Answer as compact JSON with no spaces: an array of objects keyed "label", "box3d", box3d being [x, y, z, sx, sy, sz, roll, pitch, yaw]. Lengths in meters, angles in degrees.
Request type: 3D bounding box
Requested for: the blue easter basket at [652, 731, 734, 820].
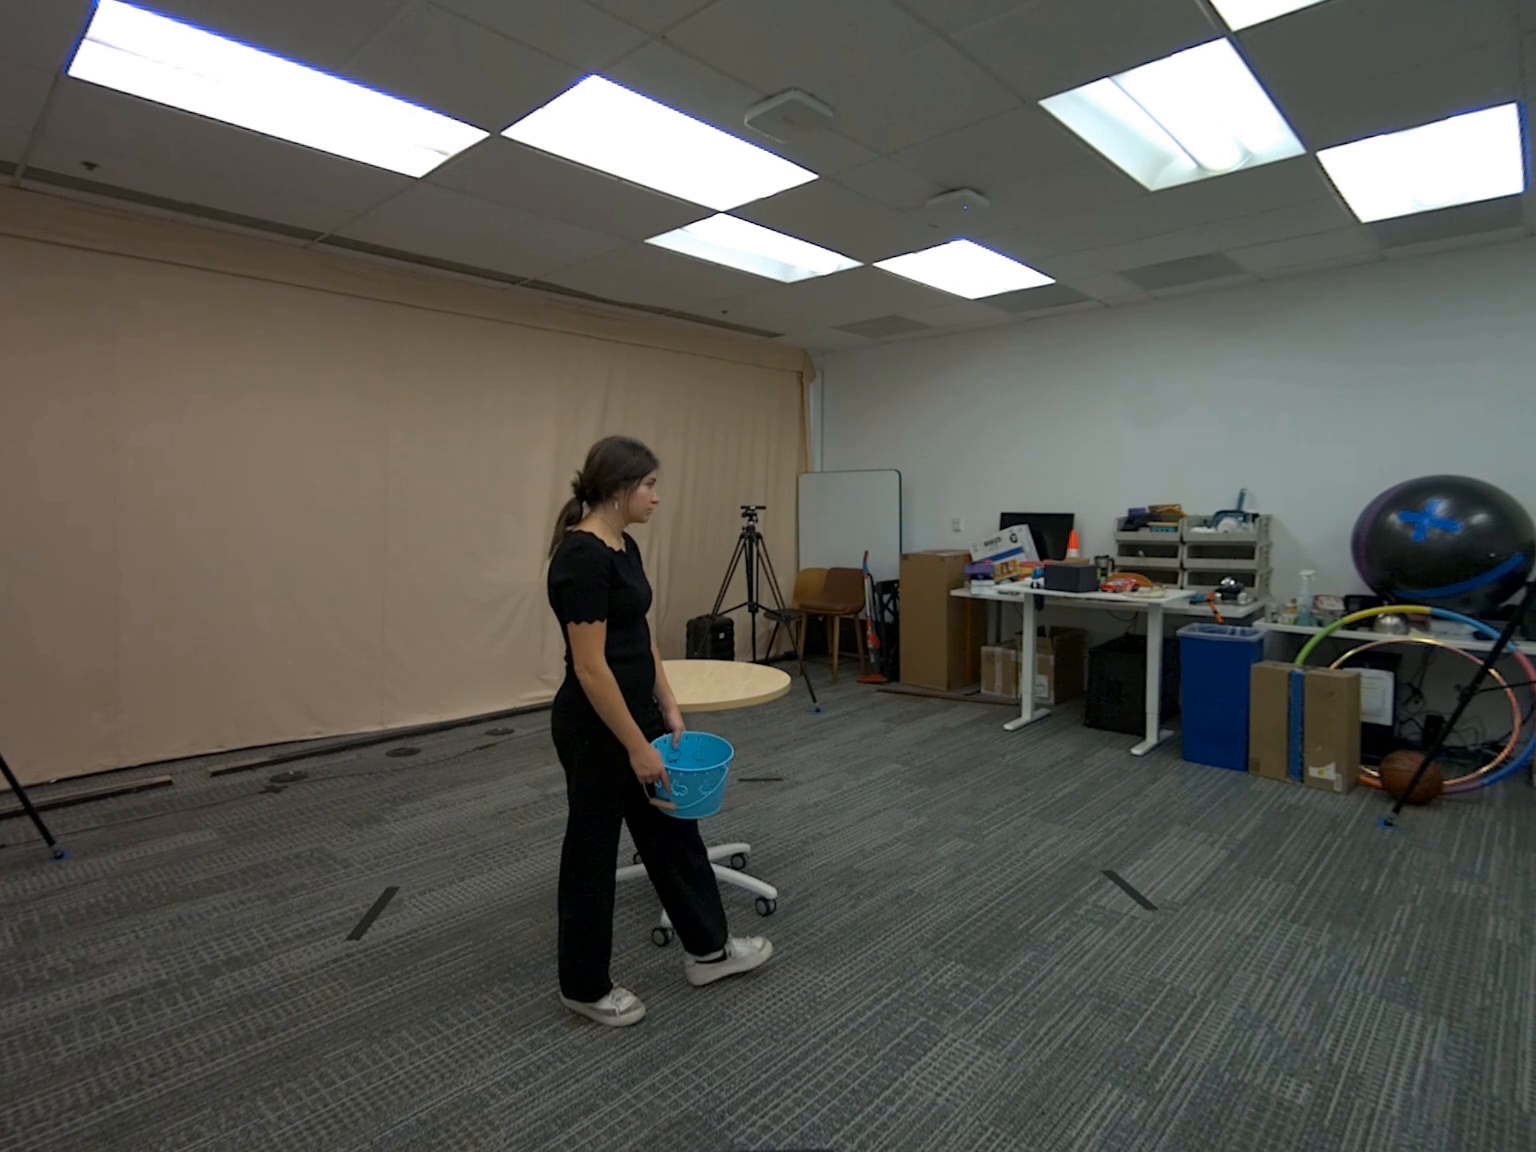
[{"label":"blue easter basket","box3d":[-0.229,0.546,2.267,0.243,0.154,0.246,-1,13,-2]}]
